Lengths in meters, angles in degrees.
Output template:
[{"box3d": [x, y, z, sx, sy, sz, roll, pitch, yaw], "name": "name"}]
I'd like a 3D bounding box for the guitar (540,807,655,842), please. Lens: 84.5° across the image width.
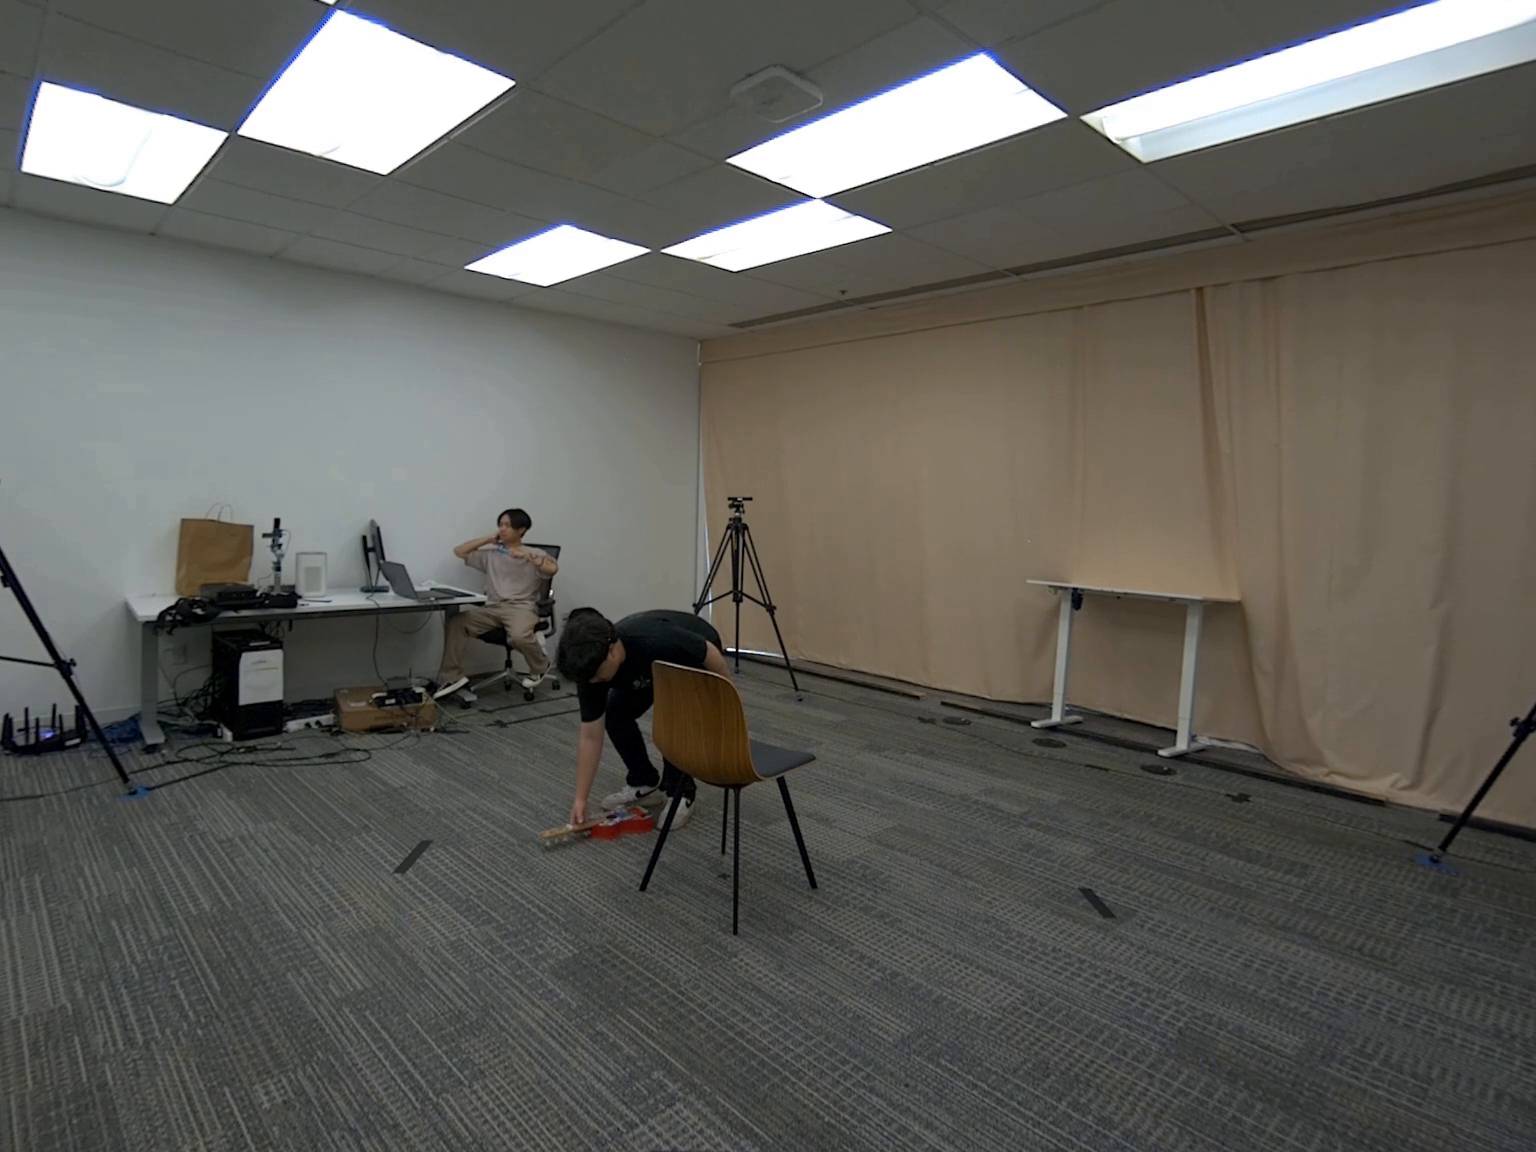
[{"box3d": [-0.731, 1.030, 3.476, 0.488, 0.070, 0.197, -3, 7, -31], "name": "guitar"}]
